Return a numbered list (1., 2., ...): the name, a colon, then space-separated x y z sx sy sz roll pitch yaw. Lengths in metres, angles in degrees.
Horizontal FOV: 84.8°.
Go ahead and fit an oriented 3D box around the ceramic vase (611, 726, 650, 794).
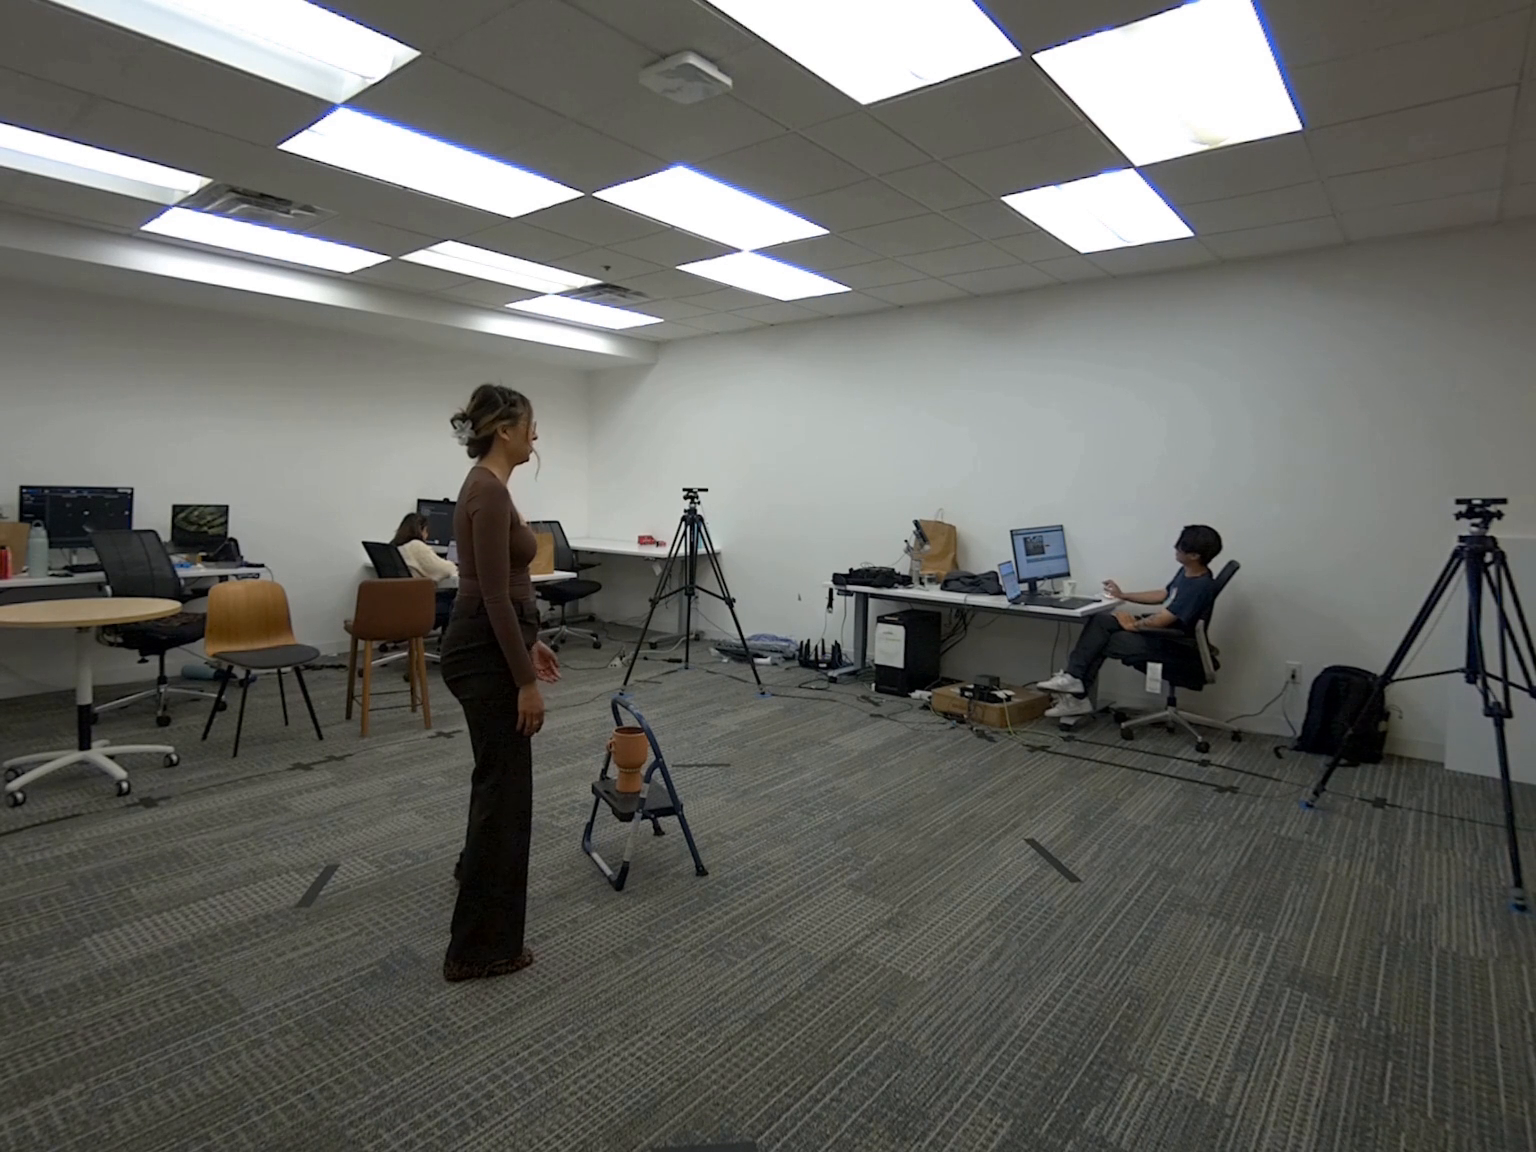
1. ceramic vase: -0.529 0.682 3.183 0.159 0.219 0.134 2 3 2
